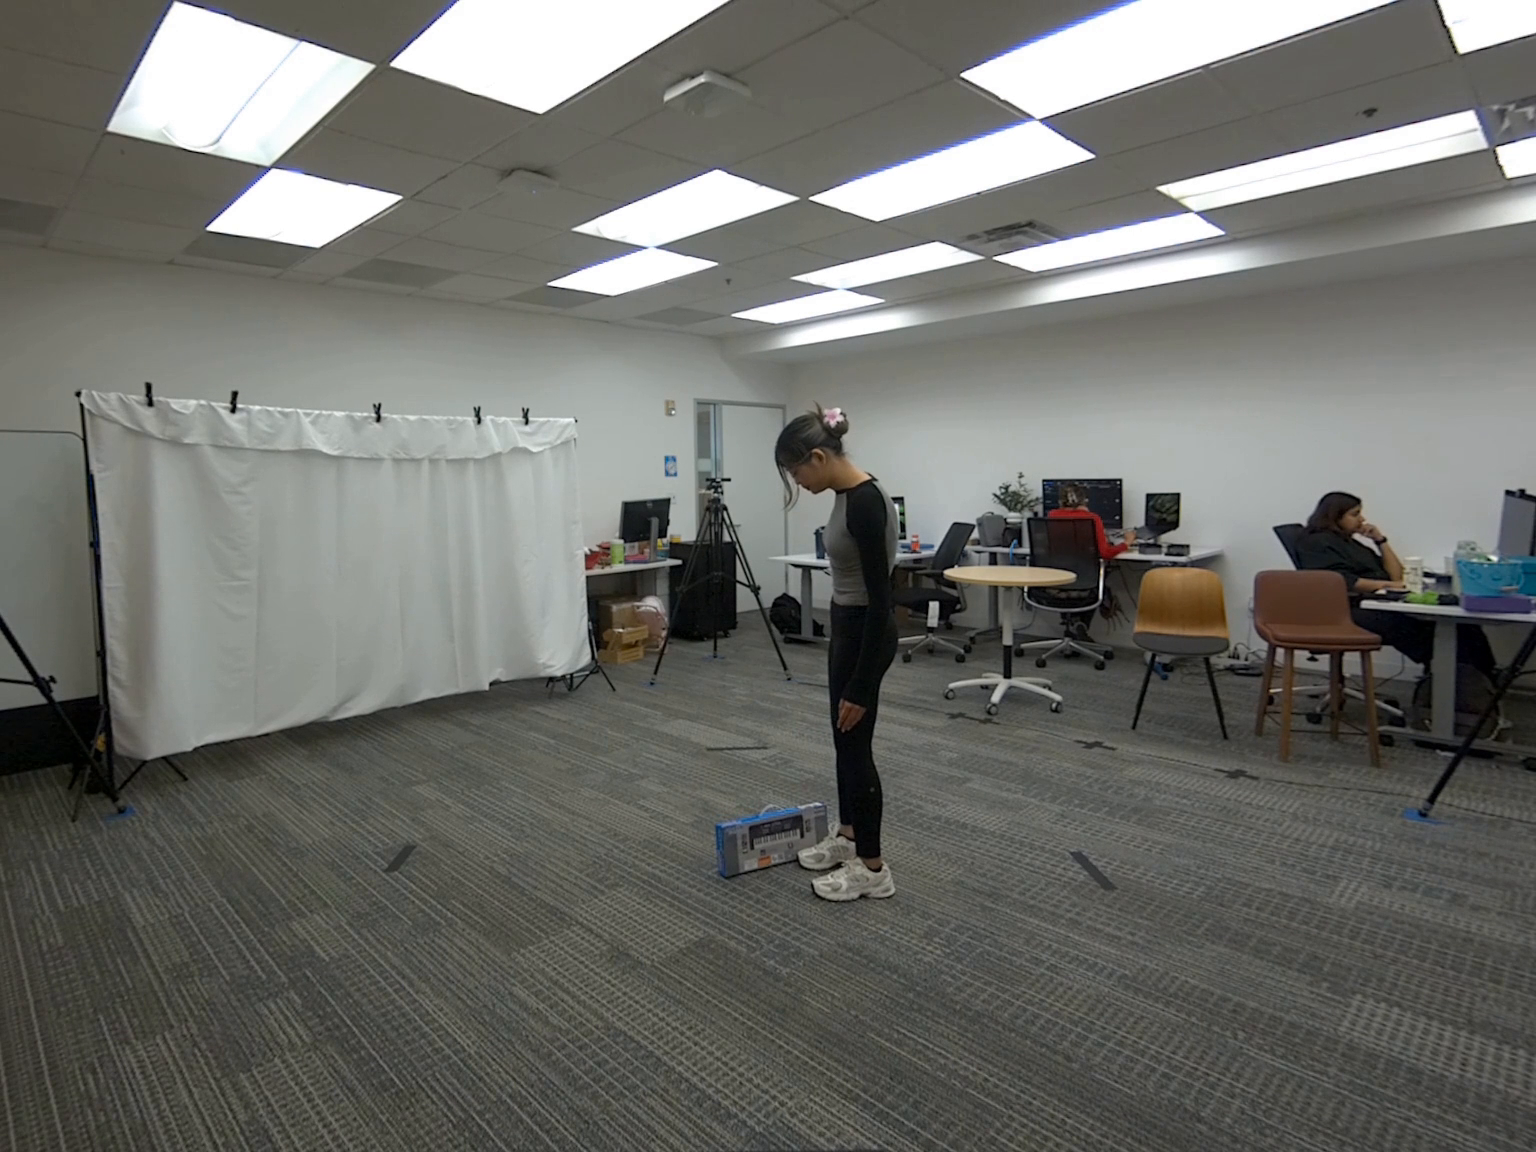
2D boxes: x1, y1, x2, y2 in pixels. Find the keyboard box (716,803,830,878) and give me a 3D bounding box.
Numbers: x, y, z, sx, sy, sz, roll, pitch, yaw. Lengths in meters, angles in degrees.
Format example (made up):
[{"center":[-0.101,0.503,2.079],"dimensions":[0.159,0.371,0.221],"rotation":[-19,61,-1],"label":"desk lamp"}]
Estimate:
[{"center":[0.026,0.956,3.106],"dimensions":[0.427,0.176,0.060],"rotation":[-4,-3,-26],"label":"keyboard box"}]
